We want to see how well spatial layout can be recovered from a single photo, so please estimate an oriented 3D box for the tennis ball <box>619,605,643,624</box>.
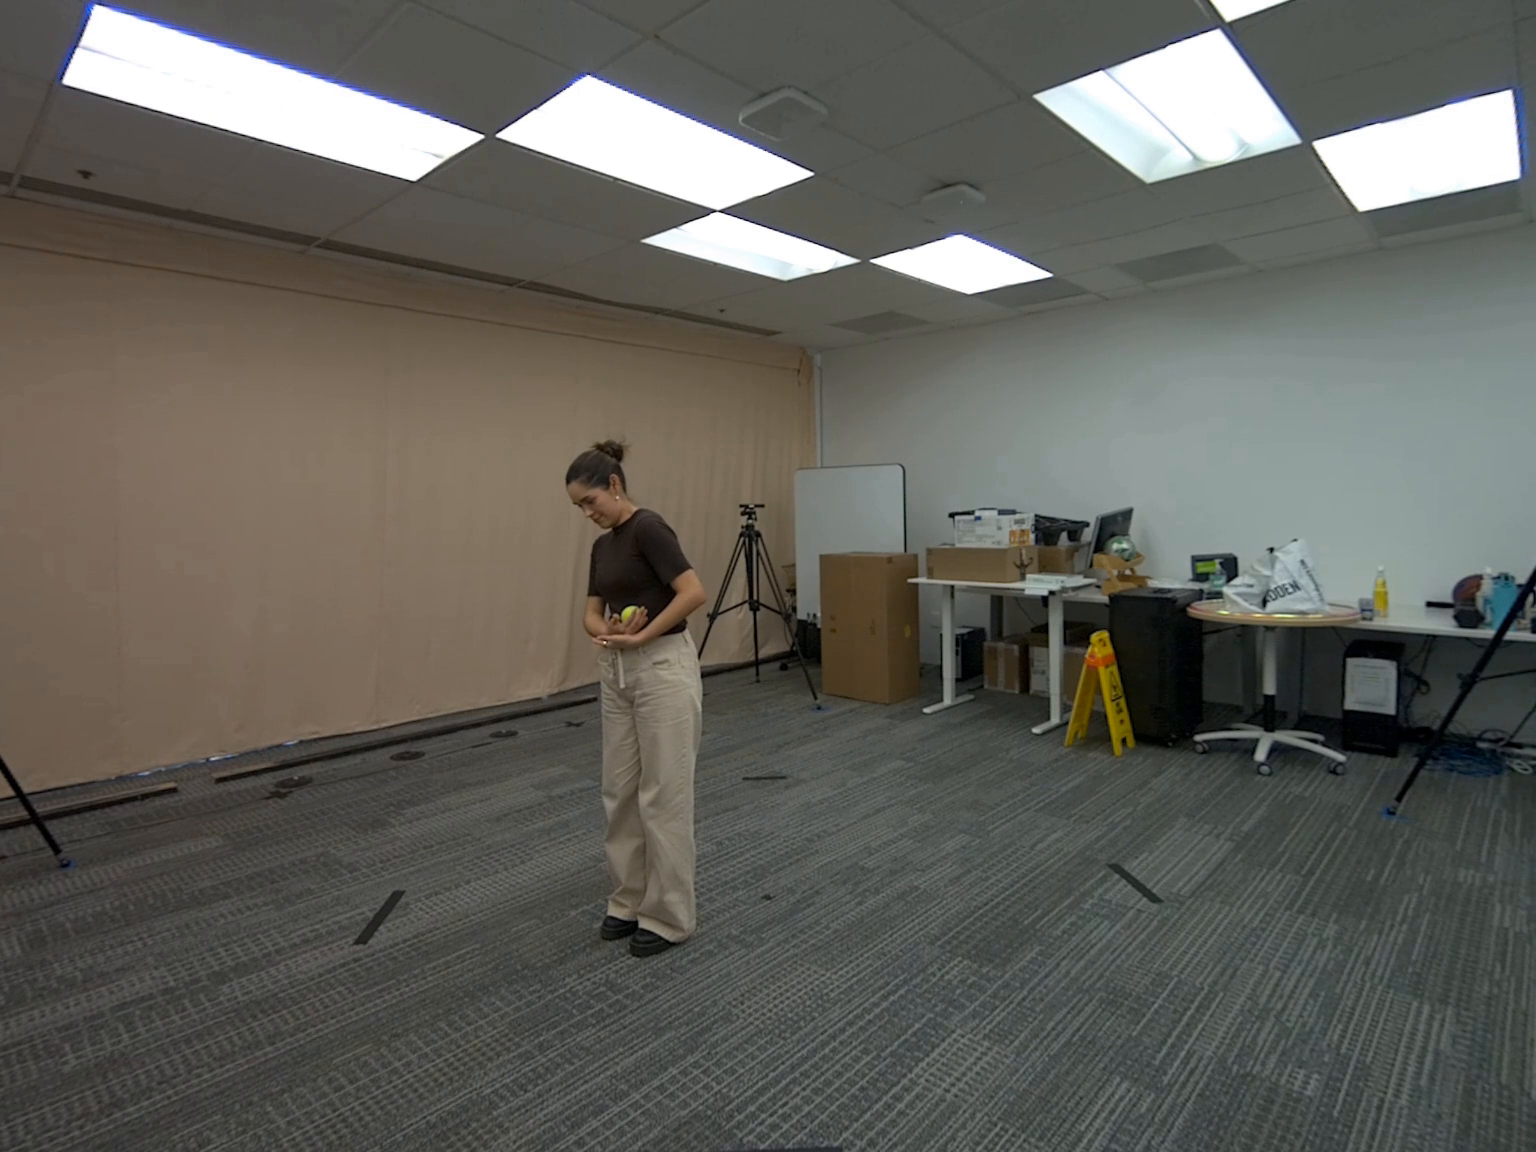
[{"bbox_3d":[-0.418,0.125,2.610,0.066,0.066,0.067,-1,4,-2],"label":"tennis ball"}]
